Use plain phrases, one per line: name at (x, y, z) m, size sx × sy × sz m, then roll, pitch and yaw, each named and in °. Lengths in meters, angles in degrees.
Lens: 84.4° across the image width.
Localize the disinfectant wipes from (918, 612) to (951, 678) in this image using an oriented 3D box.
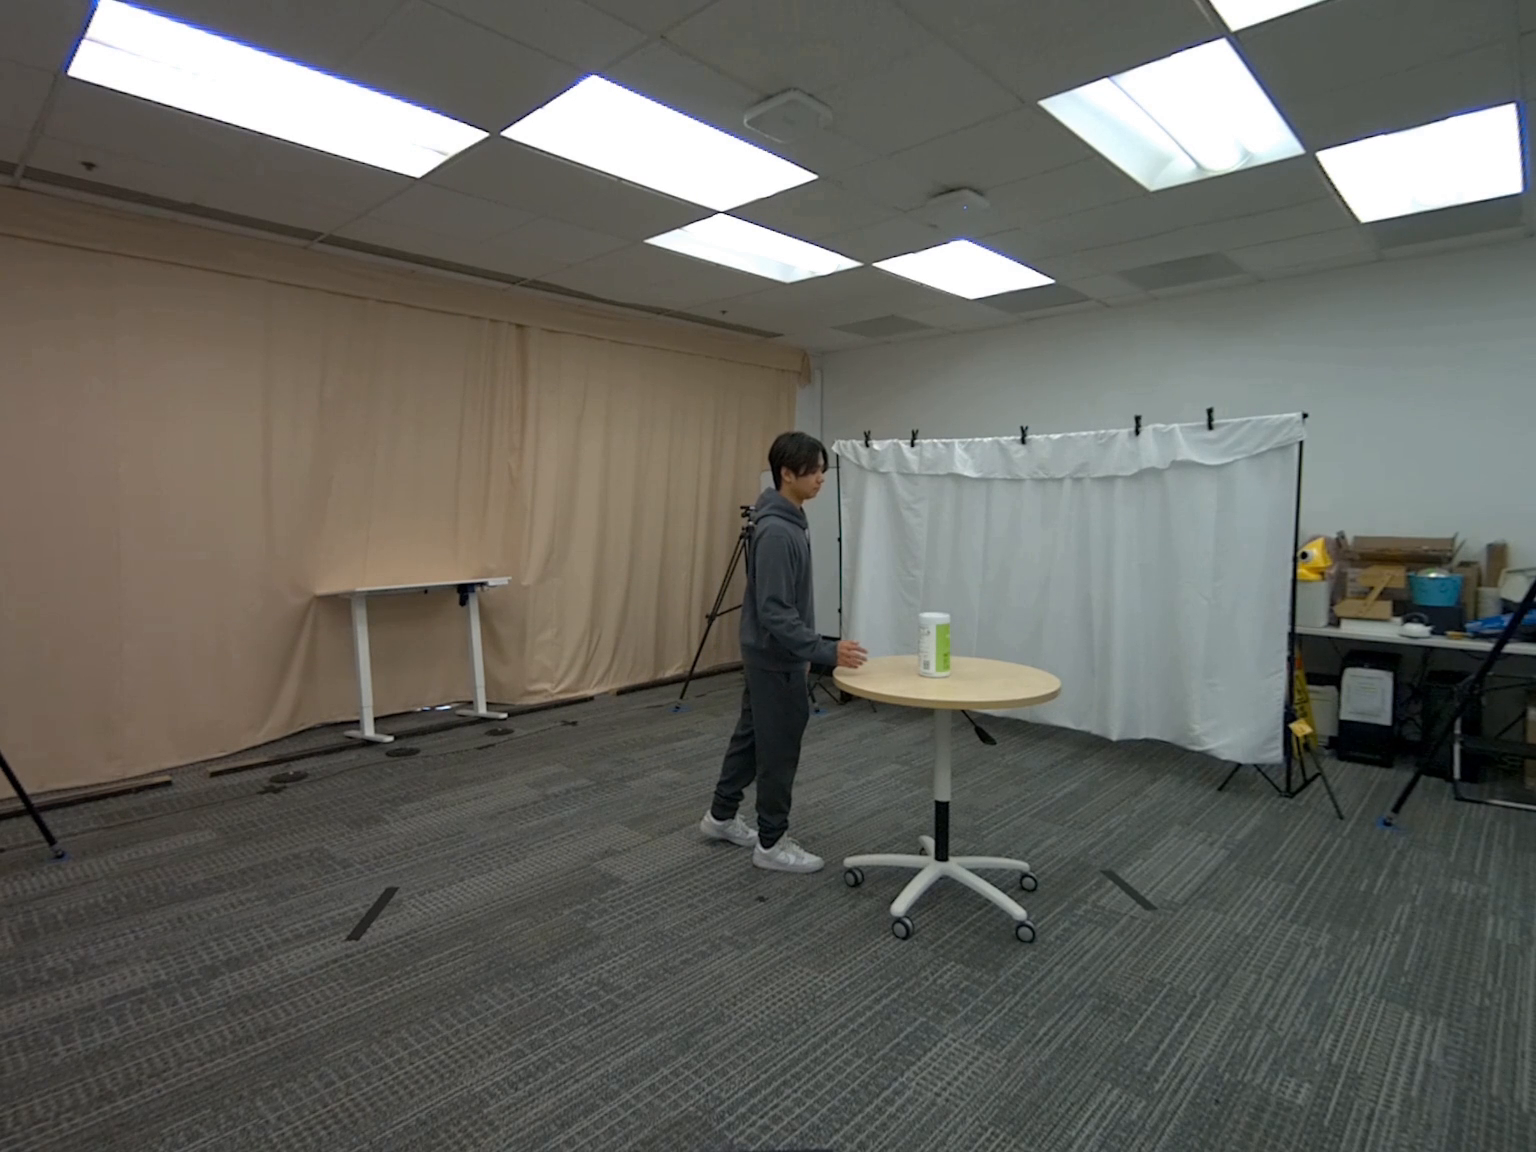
disinfectant wipes at (0.589, 0.243, 2.938) m, size 0.118 × 0.217 × 0.118 m, roll 0°, pitch 4°, yaw -2°
